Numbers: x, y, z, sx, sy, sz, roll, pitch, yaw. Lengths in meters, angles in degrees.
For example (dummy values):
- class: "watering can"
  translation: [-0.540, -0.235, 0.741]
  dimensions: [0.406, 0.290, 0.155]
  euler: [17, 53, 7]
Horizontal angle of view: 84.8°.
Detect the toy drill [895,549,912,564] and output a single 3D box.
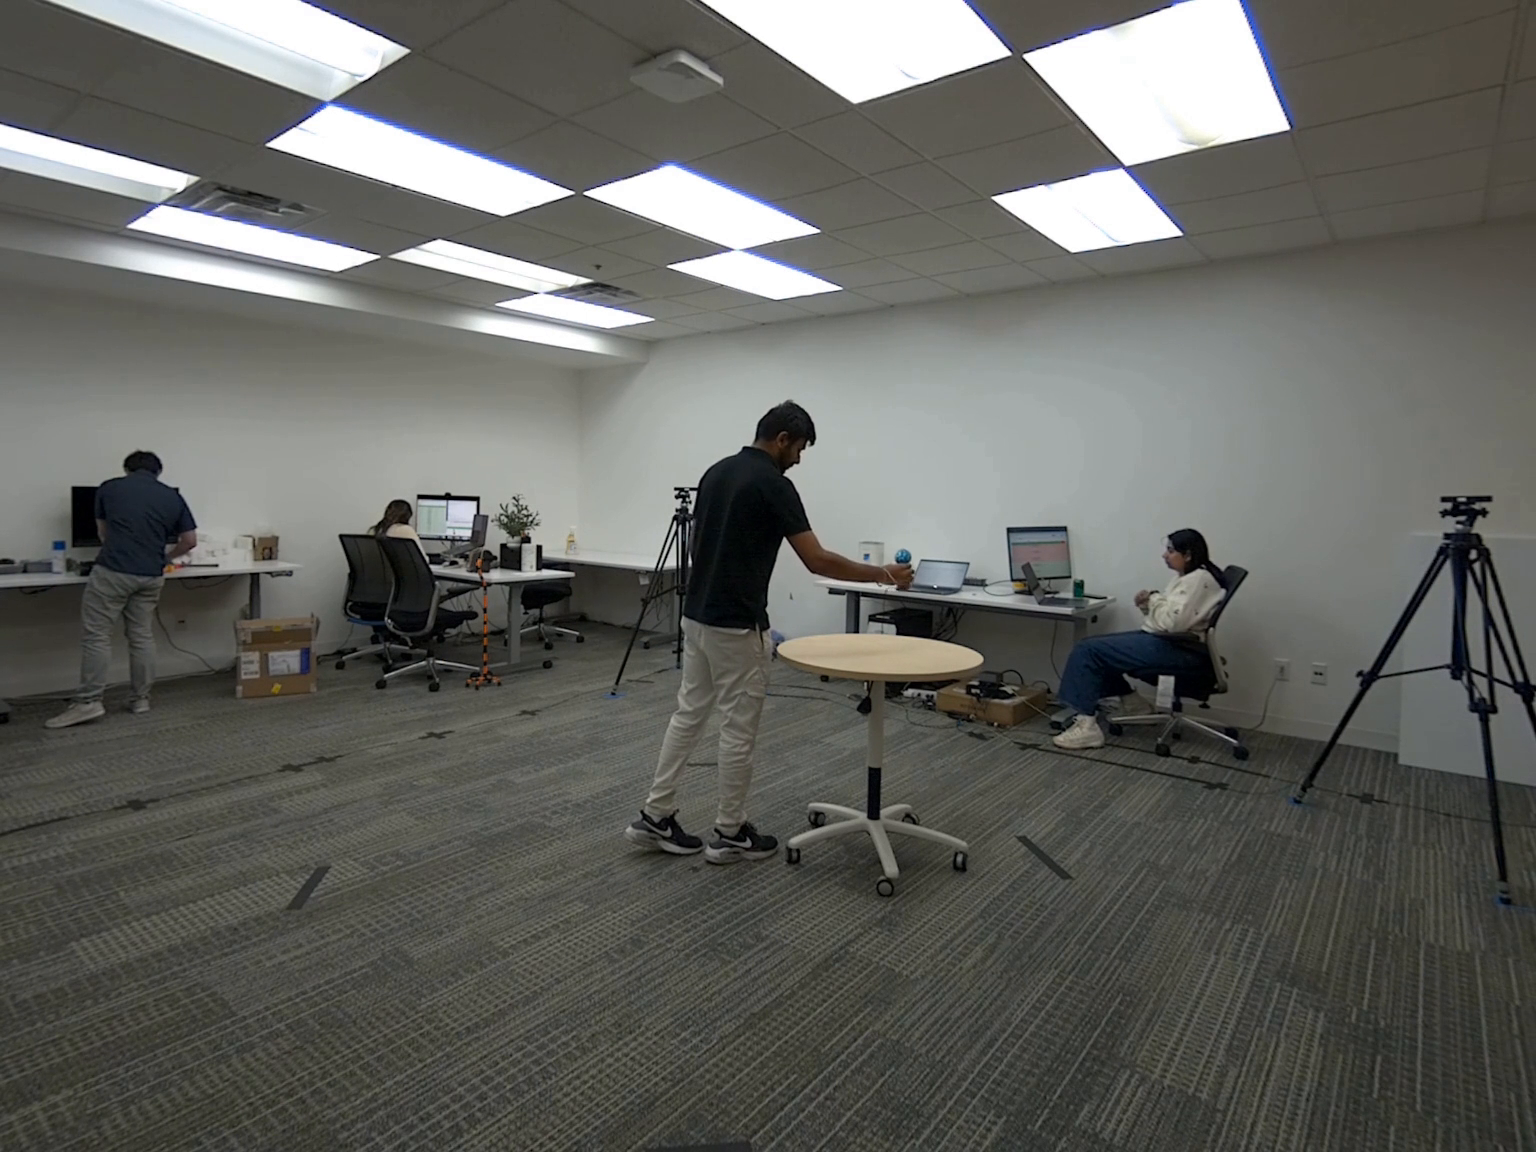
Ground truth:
- class: "toy drill"
  translation: [0.505, -0.036, 3.228]
  dimensions: [0.062, 0.145, 0.169]
  euler: [0, 10, 12]
